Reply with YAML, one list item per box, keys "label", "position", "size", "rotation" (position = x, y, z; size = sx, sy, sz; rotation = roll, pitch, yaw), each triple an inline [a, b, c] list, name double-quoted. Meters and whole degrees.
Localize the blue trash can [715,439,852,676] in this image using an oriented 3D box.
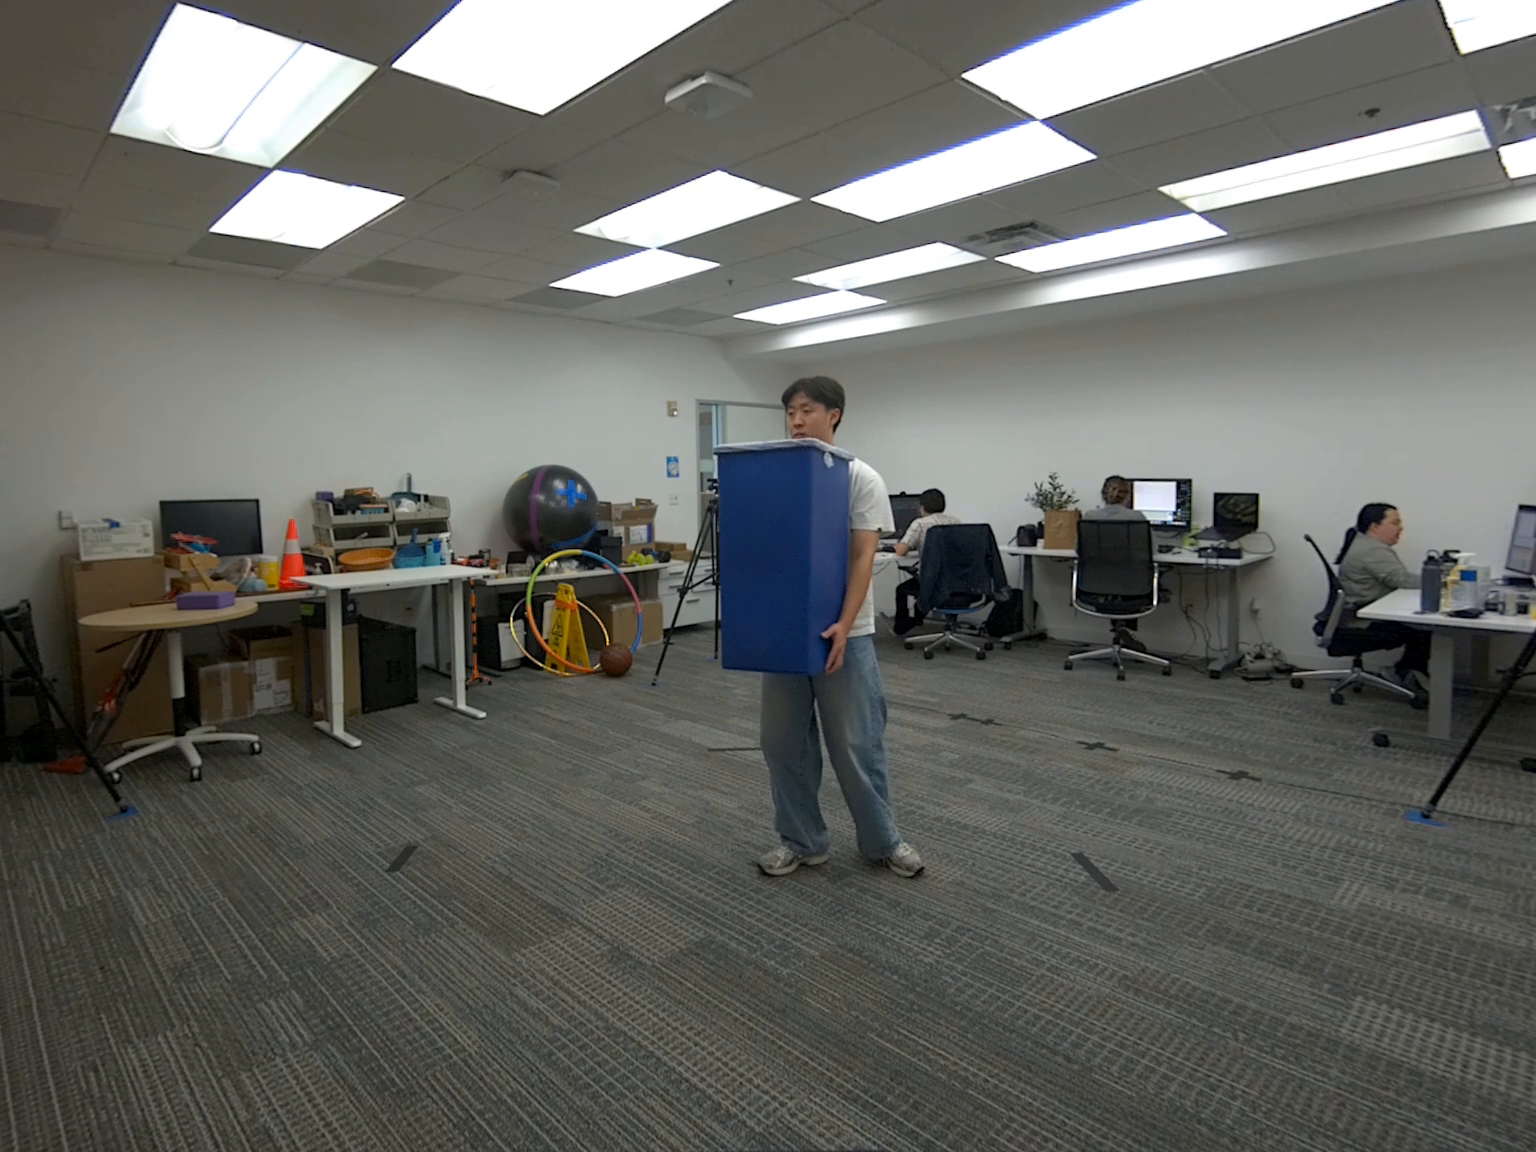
- label: "blue trash can"
  position: [0.050, -0.059, 2.786]
  size: [0.383, 0.716, 0.368]
  rotation: [0, -4, 28]
